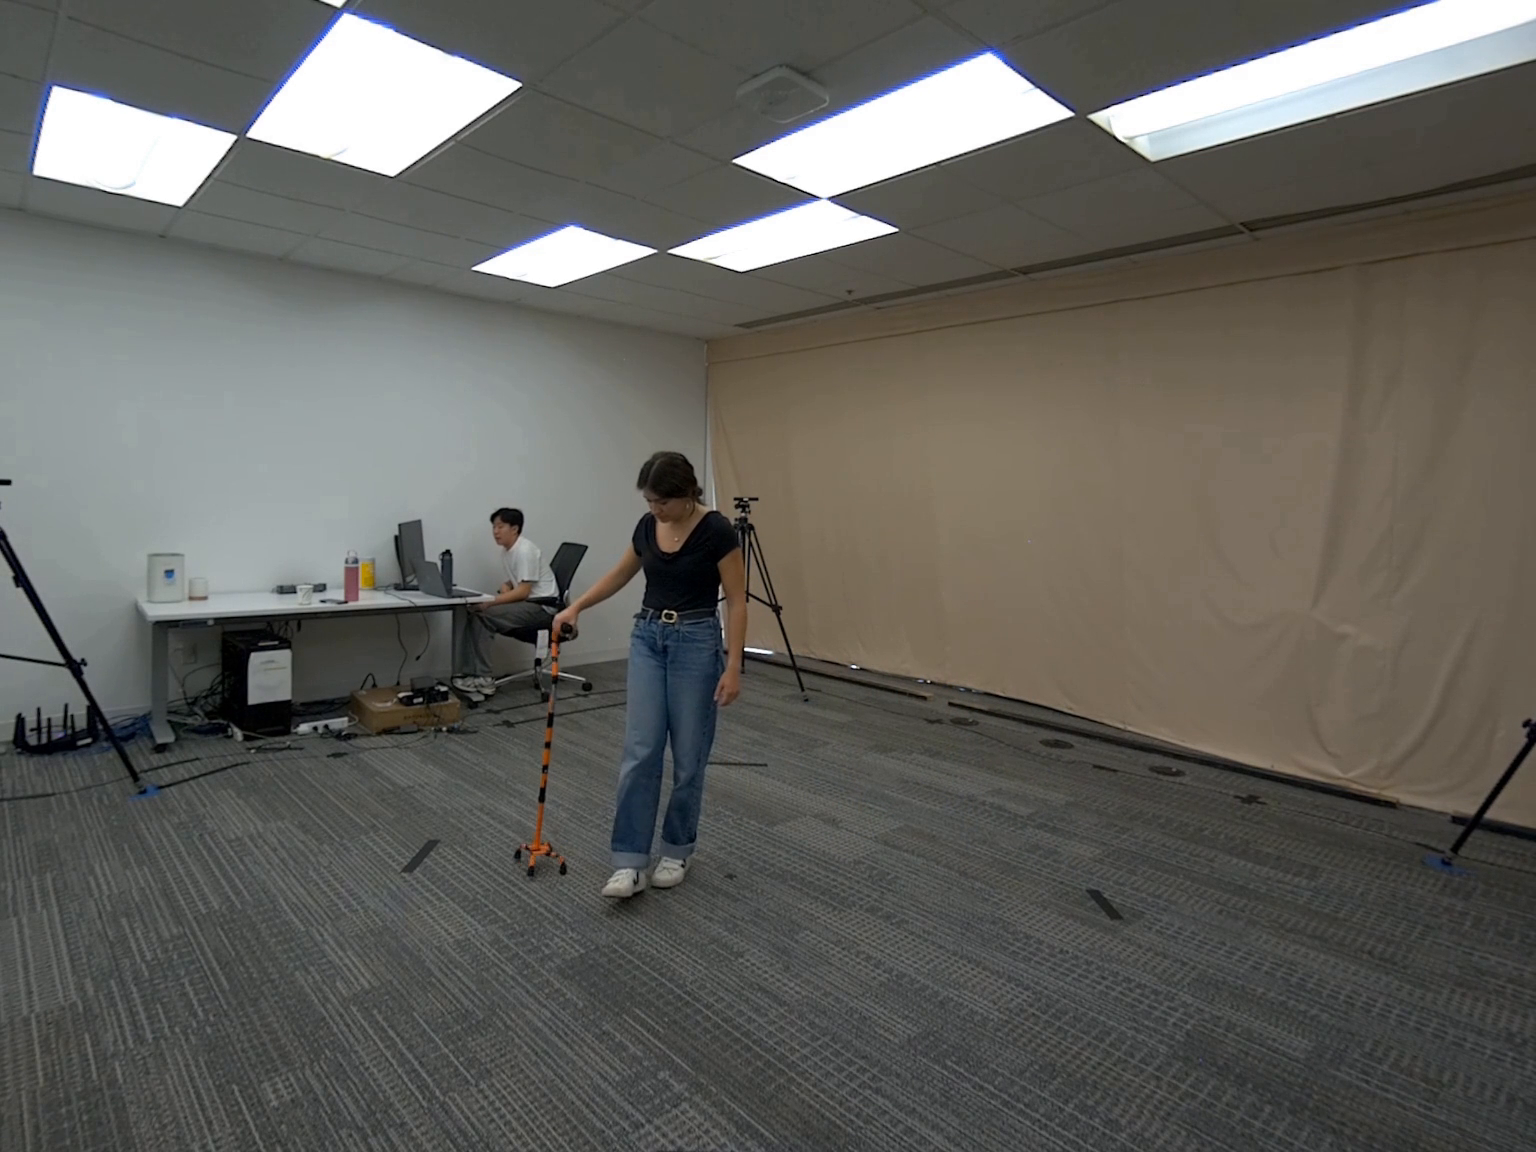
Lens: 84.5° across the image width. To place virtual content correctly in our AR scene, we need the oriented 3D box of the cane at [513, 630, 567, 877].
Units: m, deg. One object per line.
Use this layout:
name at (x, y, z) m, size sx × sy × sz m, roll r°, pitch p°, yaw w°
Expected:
cane at (-0.813, 0.630, 3.149) m, size 0.148 × 0.908 × 0.211 m, roll 5°, pitch 0°, yaw -33°
